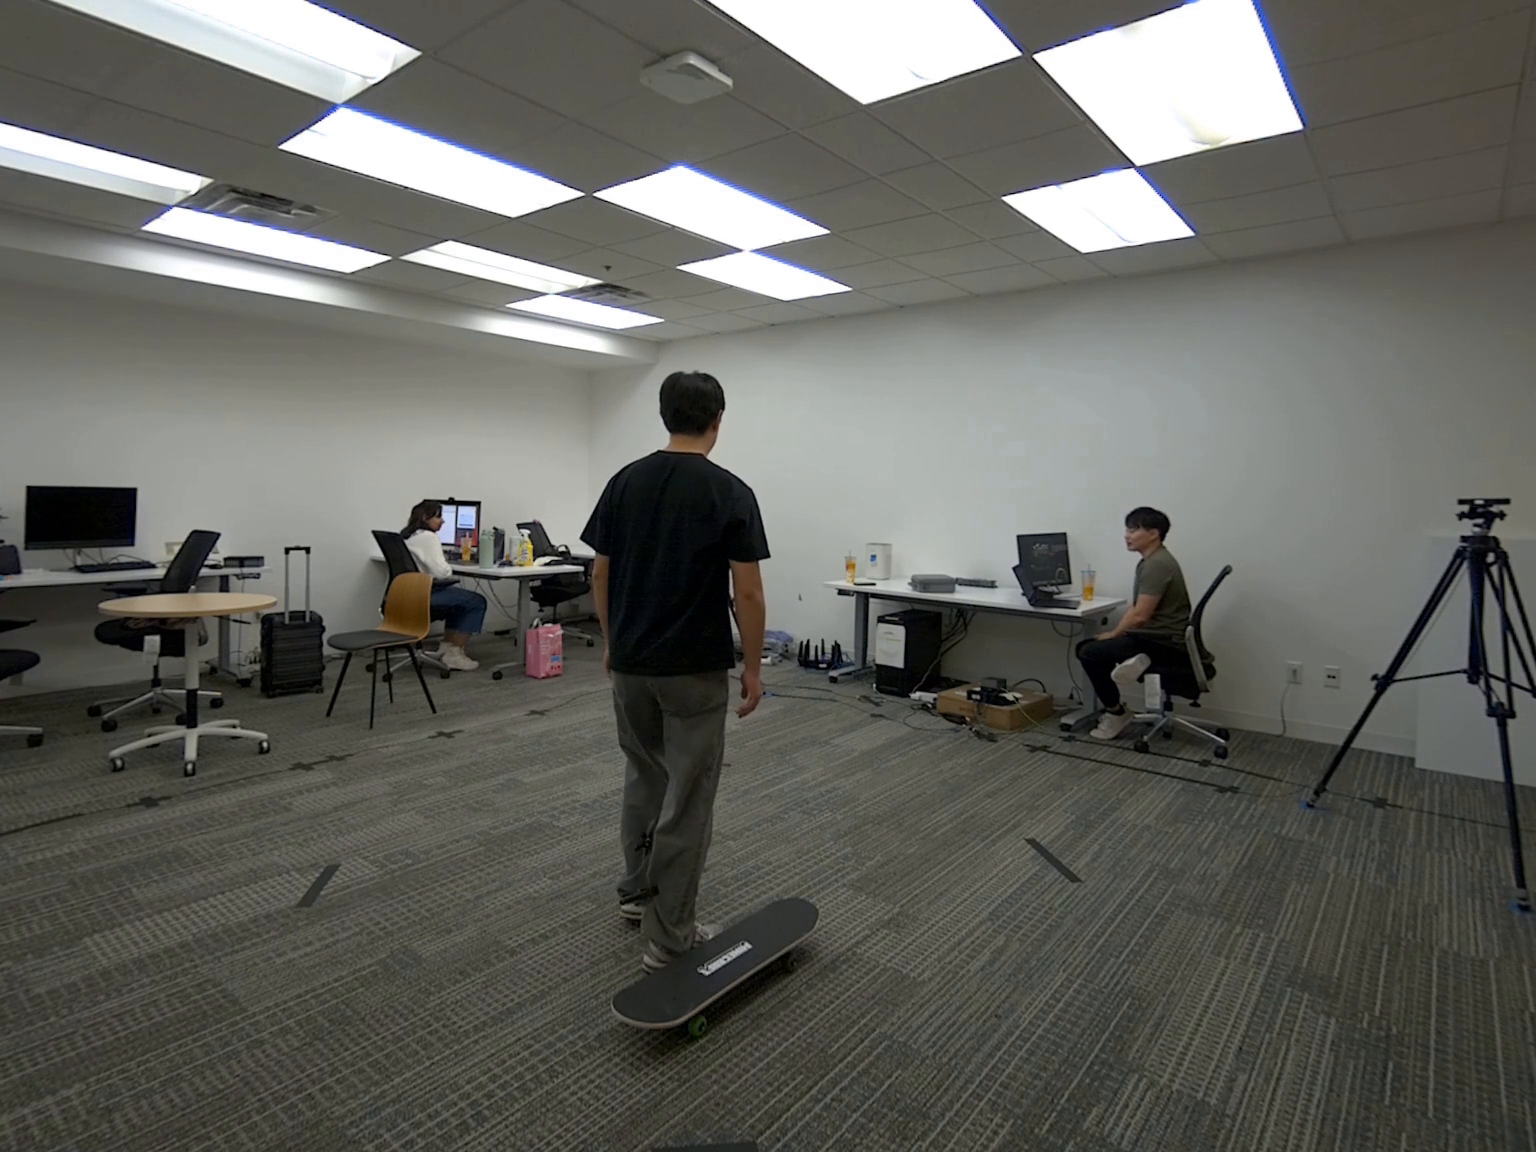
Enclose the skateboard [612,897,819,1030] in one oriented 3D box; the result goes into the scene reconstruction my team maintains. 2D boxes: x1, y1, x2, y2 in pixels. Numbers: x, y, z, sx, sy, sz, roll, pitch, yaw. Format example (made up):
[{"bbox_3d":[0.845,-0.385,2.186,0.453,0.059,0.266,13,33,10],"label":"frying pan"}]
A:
[{"bbox_3d":[-0.123,1.095,2.354,0.200,0.110,0.763,6,8,39],"label":"skateboard"}]
